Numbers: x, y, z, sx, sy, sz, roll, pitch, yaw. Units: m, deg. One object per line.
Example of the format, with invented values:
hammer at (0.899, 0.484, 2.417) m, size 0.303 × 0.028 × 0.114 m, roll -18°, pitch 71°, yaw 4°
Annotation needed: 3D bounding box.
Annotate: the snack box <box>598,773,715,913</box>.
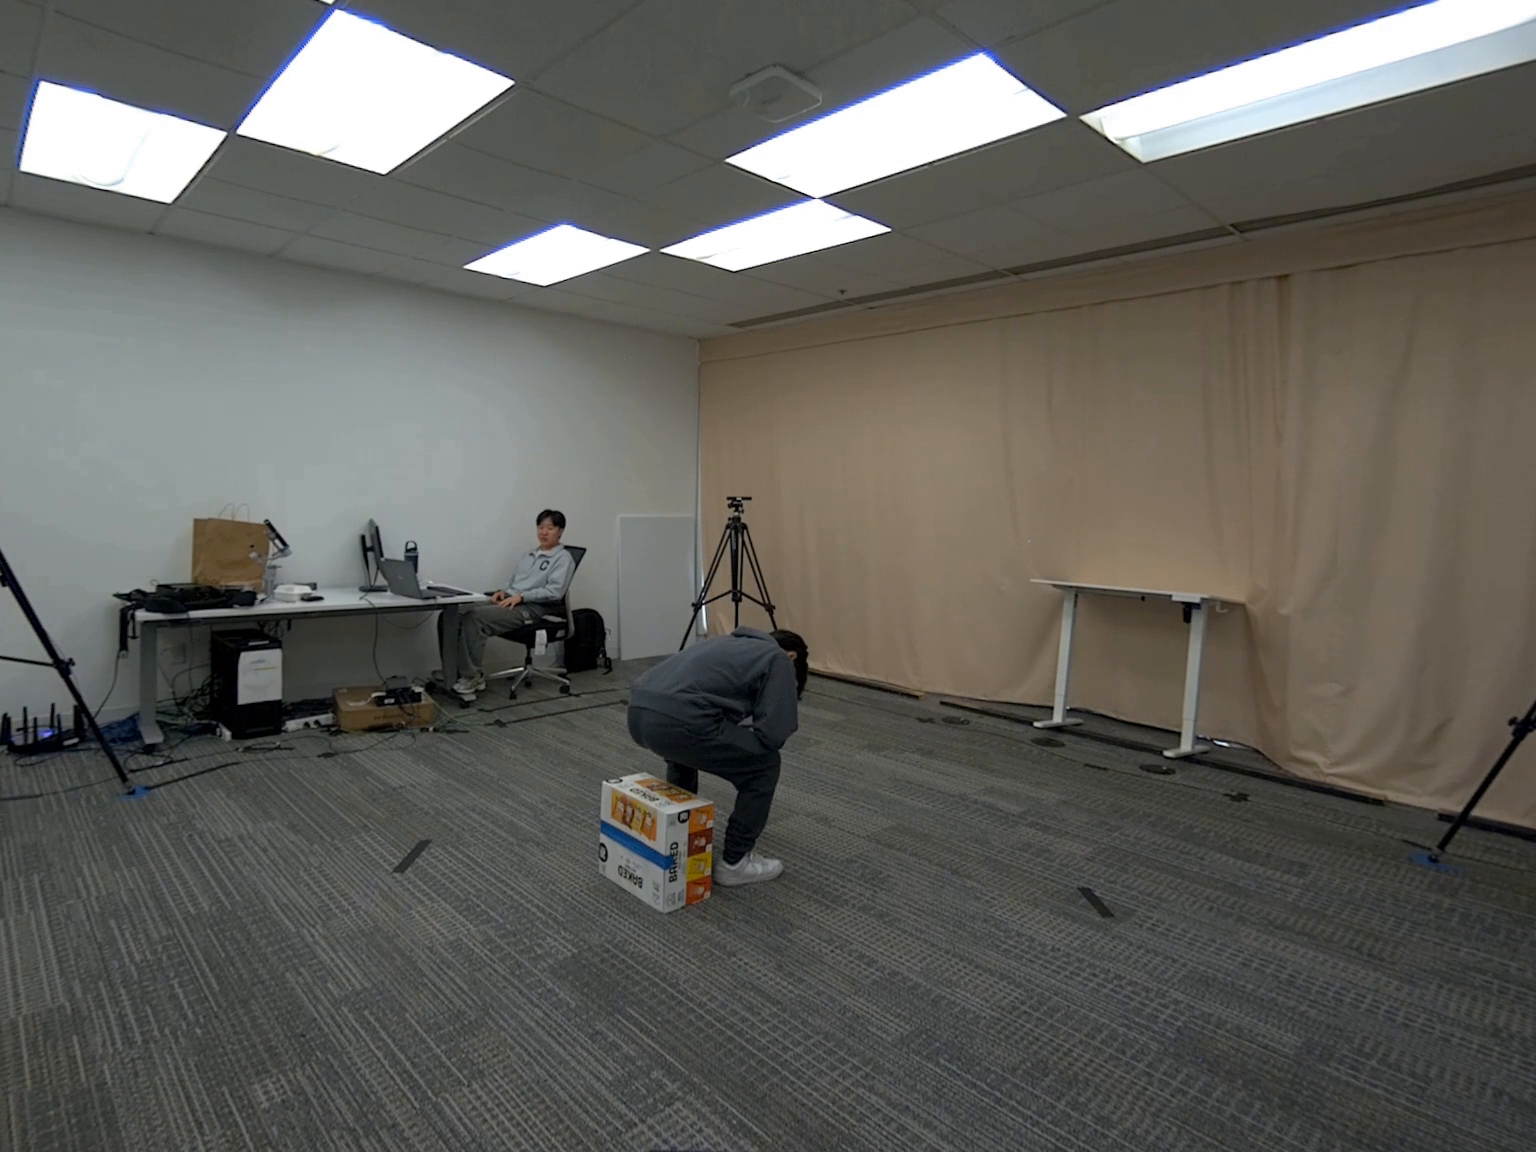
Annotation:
snack box at (-0.412, 0.940, 3.008) m, size 0.201 × 0.340 × 0.415 m, roll 0°, pitch 4°, yaw -43°
